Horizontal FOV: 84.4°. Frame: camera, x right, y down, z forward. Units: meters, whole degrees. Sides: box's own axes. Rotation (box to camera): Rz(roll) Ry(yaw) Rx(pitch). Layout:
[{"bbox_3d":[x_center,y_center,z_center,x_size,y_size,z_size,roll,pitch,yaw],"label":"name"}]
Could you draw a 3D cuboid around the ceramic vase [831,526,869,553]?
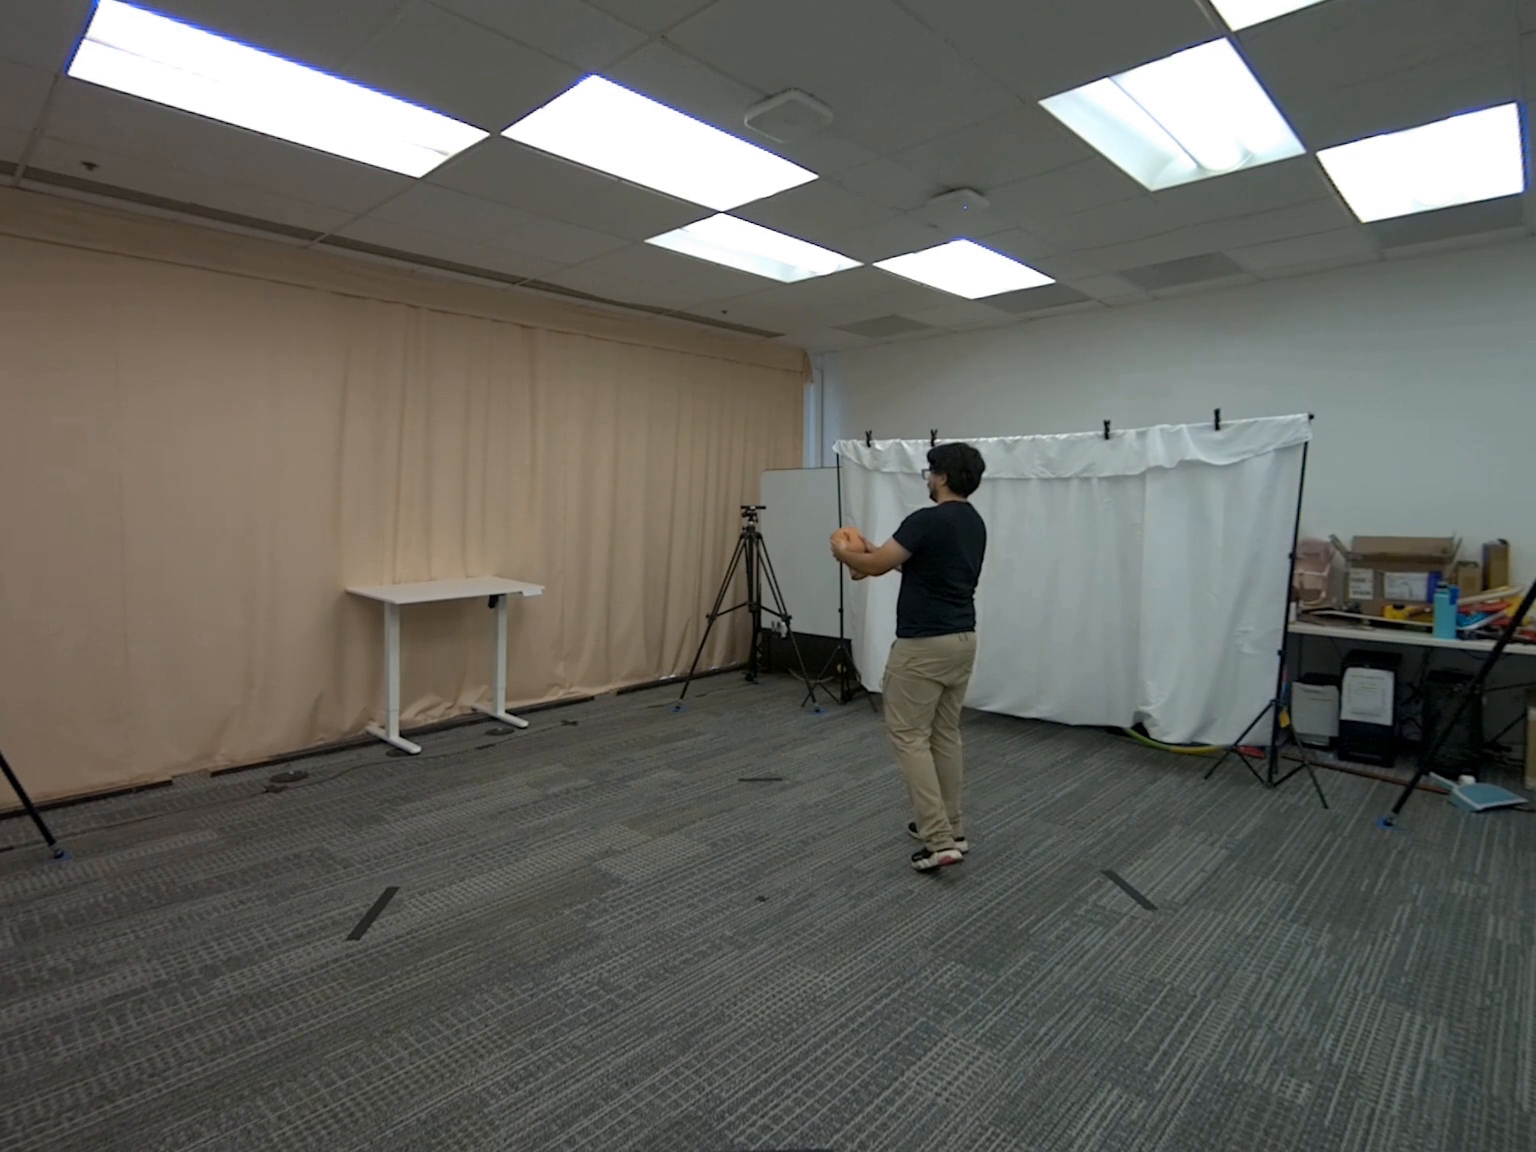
[{"bbox_3d":[0.388,-0.093,3.758,0.153,0.225,0.136,14,-43,-45],"label":"ceramic vase"}]
